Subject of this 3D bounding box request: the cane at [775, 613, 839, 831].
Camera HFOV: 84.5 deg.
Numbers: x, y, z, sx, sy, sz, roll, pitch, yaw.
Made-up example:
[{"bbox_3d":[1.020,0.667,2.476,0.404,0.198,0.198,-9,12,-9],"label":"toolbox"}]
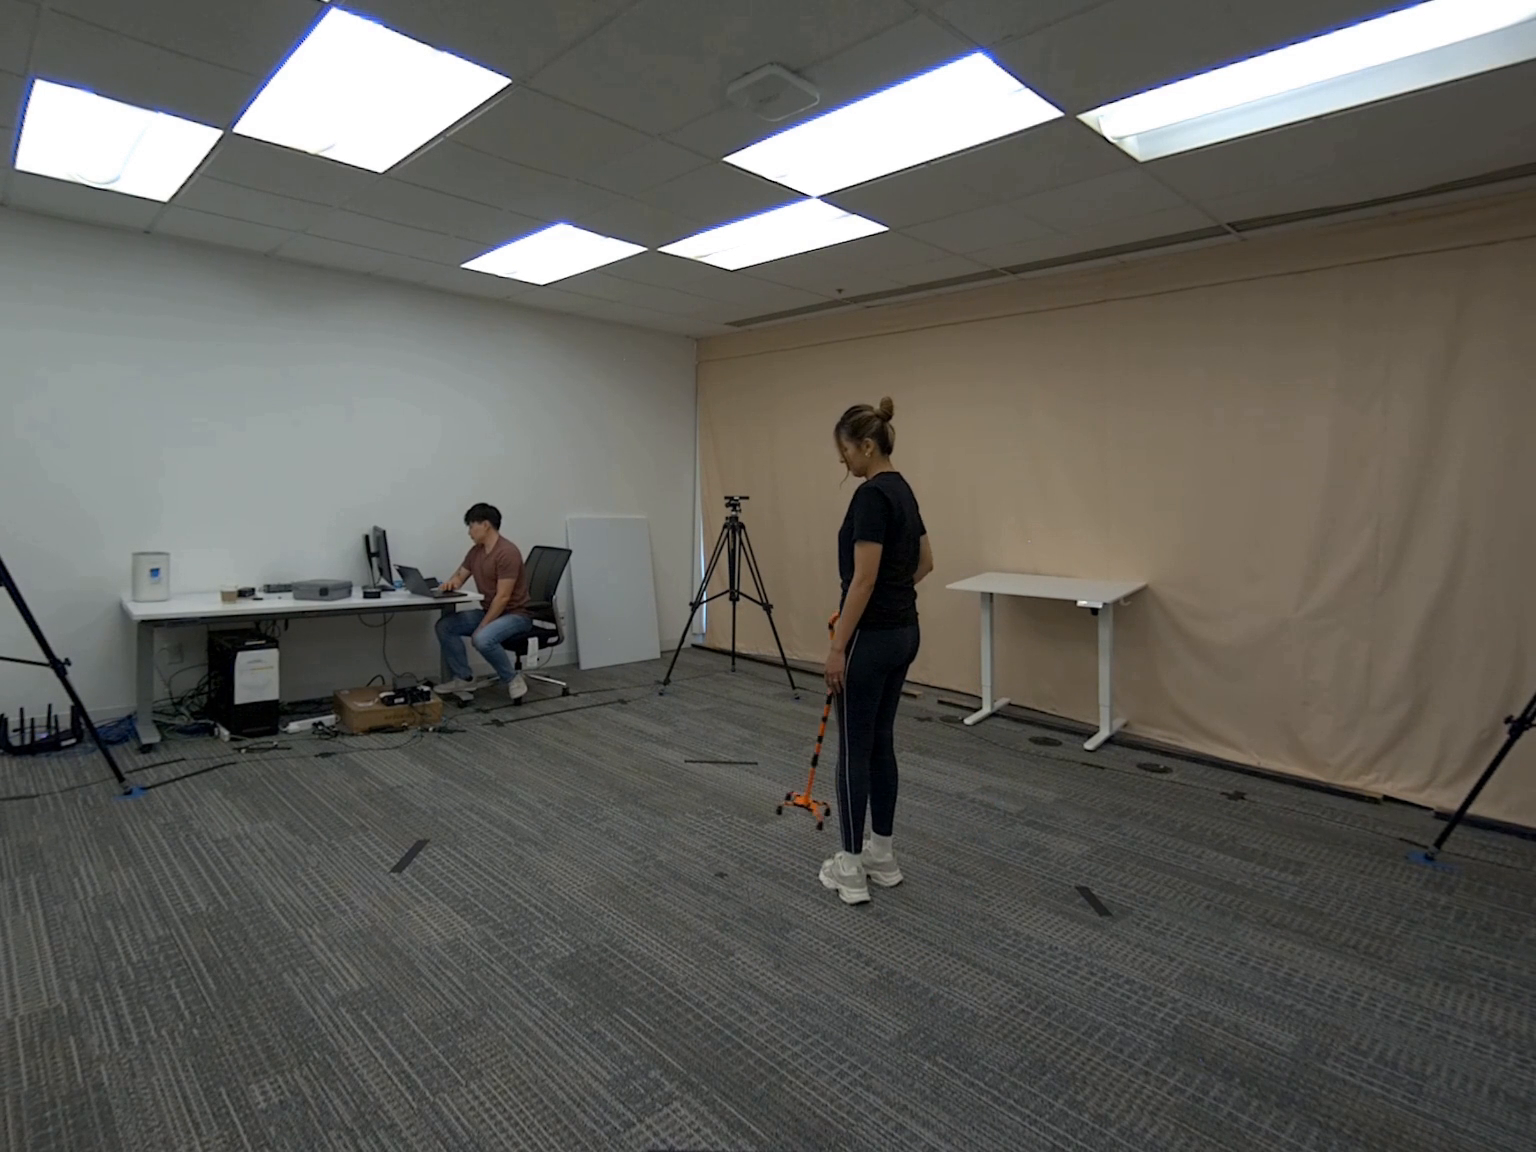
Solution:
[{"bbox_3d":[0.228,0.576,3.376,0.210,0.901,0.150,14,14,18],"label":"cane"}]
